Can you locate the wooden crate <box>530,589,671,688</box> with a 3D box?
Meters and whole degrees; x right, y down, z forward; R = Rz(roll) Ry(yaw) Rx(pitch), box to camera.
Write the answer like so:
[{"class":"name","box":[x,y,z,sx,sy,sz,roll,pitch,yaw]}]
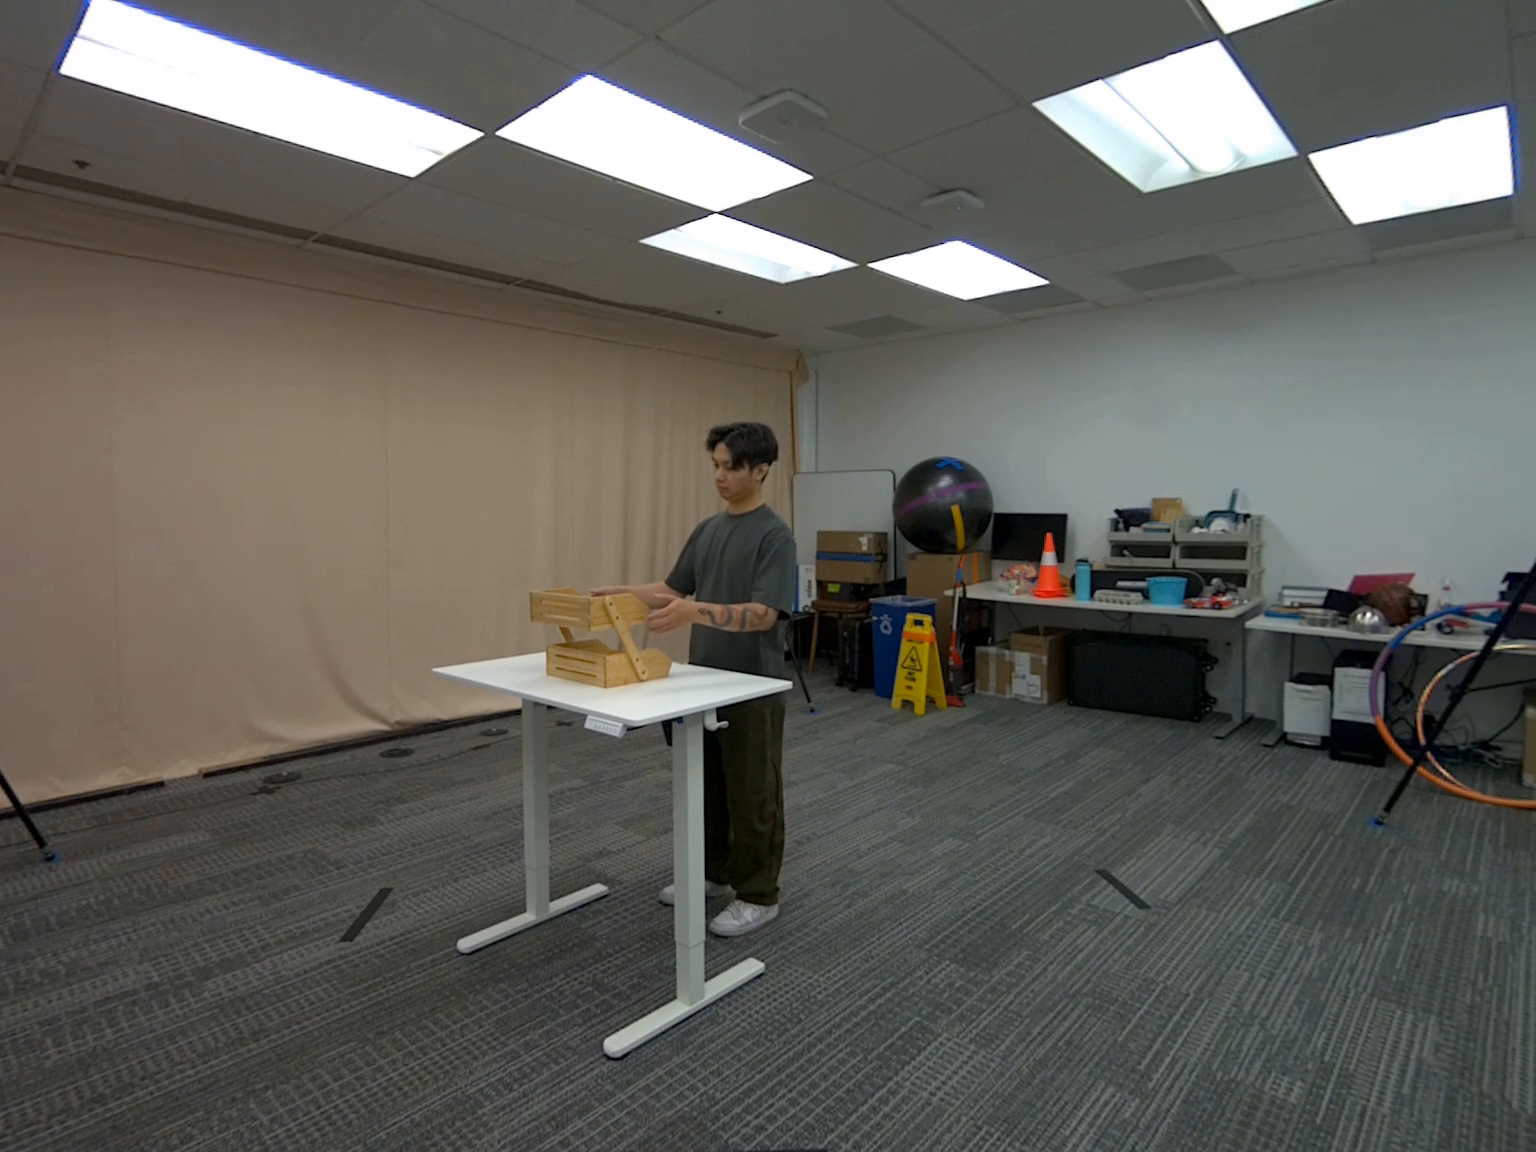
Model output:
[{"class":"wooden crate","box":[-0.500,0.172,2.527,0.335,0.273,0.293,3,5,43]}]
